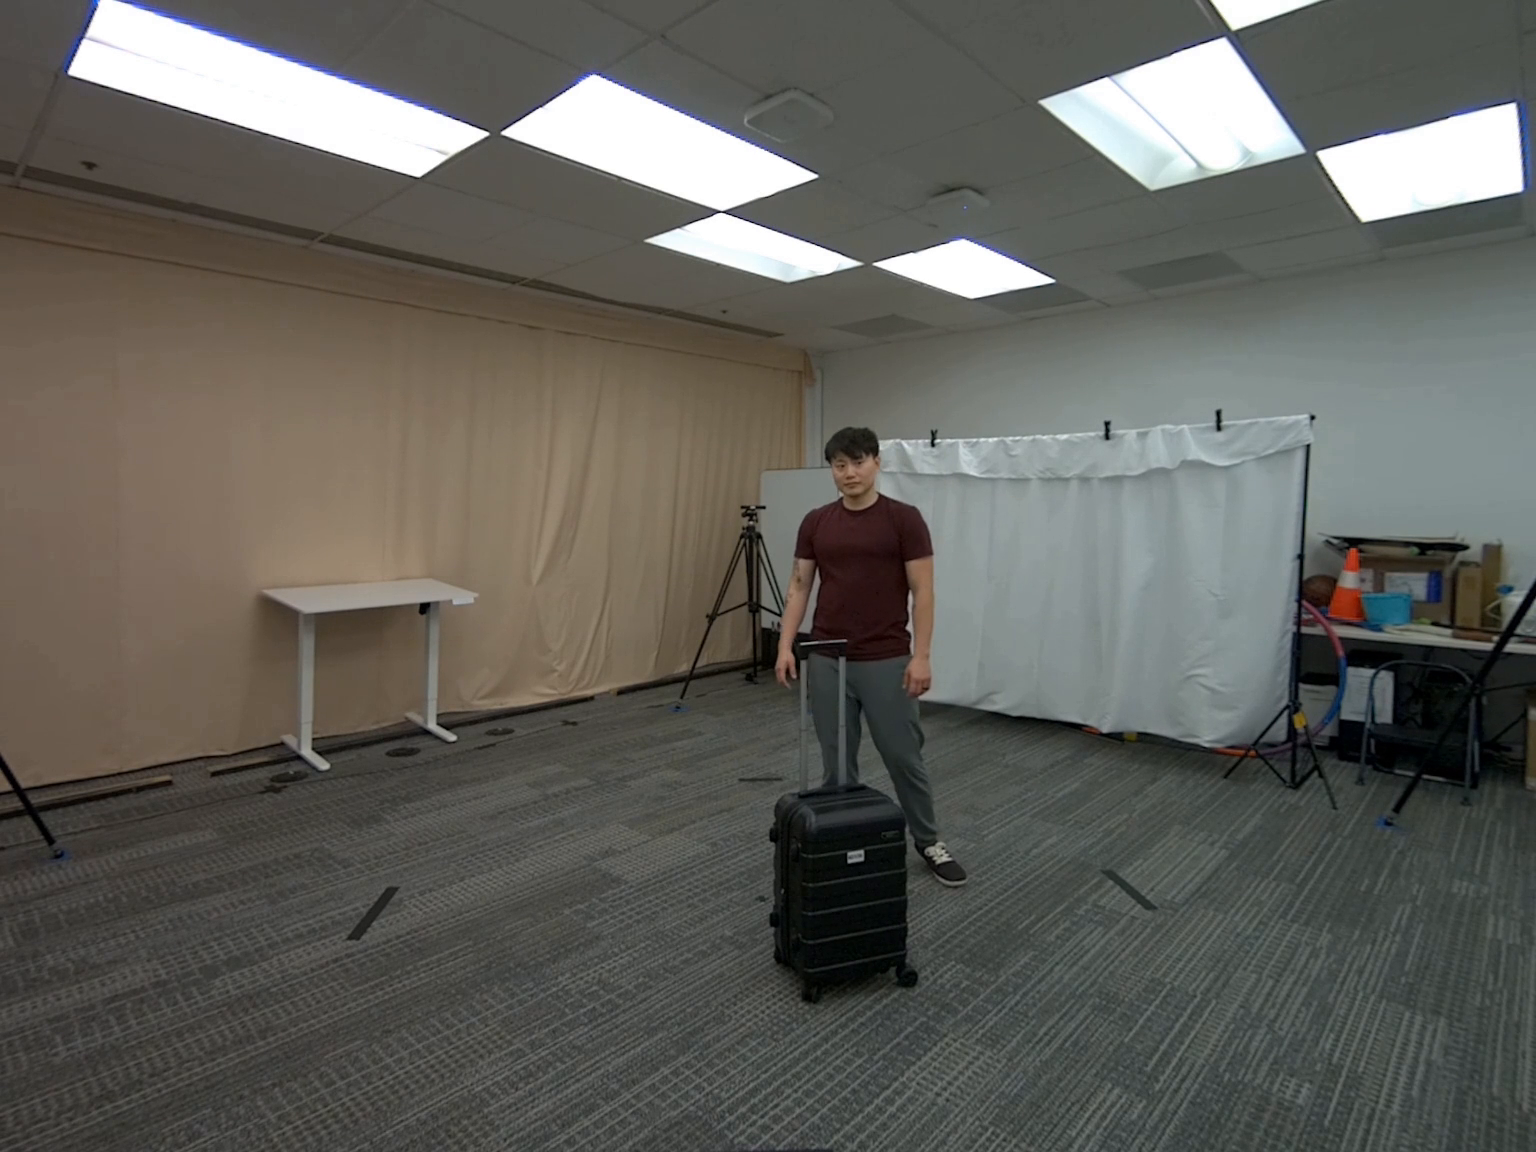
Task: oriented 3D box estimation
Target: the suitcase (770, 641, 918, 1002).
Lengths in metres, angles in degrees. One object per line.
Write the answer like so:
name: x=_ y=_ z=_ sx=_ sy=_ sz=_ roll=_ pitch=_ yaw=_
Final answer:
suitcase: x=0.219 y=0.712 z=2.467 sx=0.377 sy=0.975 sz=0.262 roll=-1 pitch=5 yaw=-17
